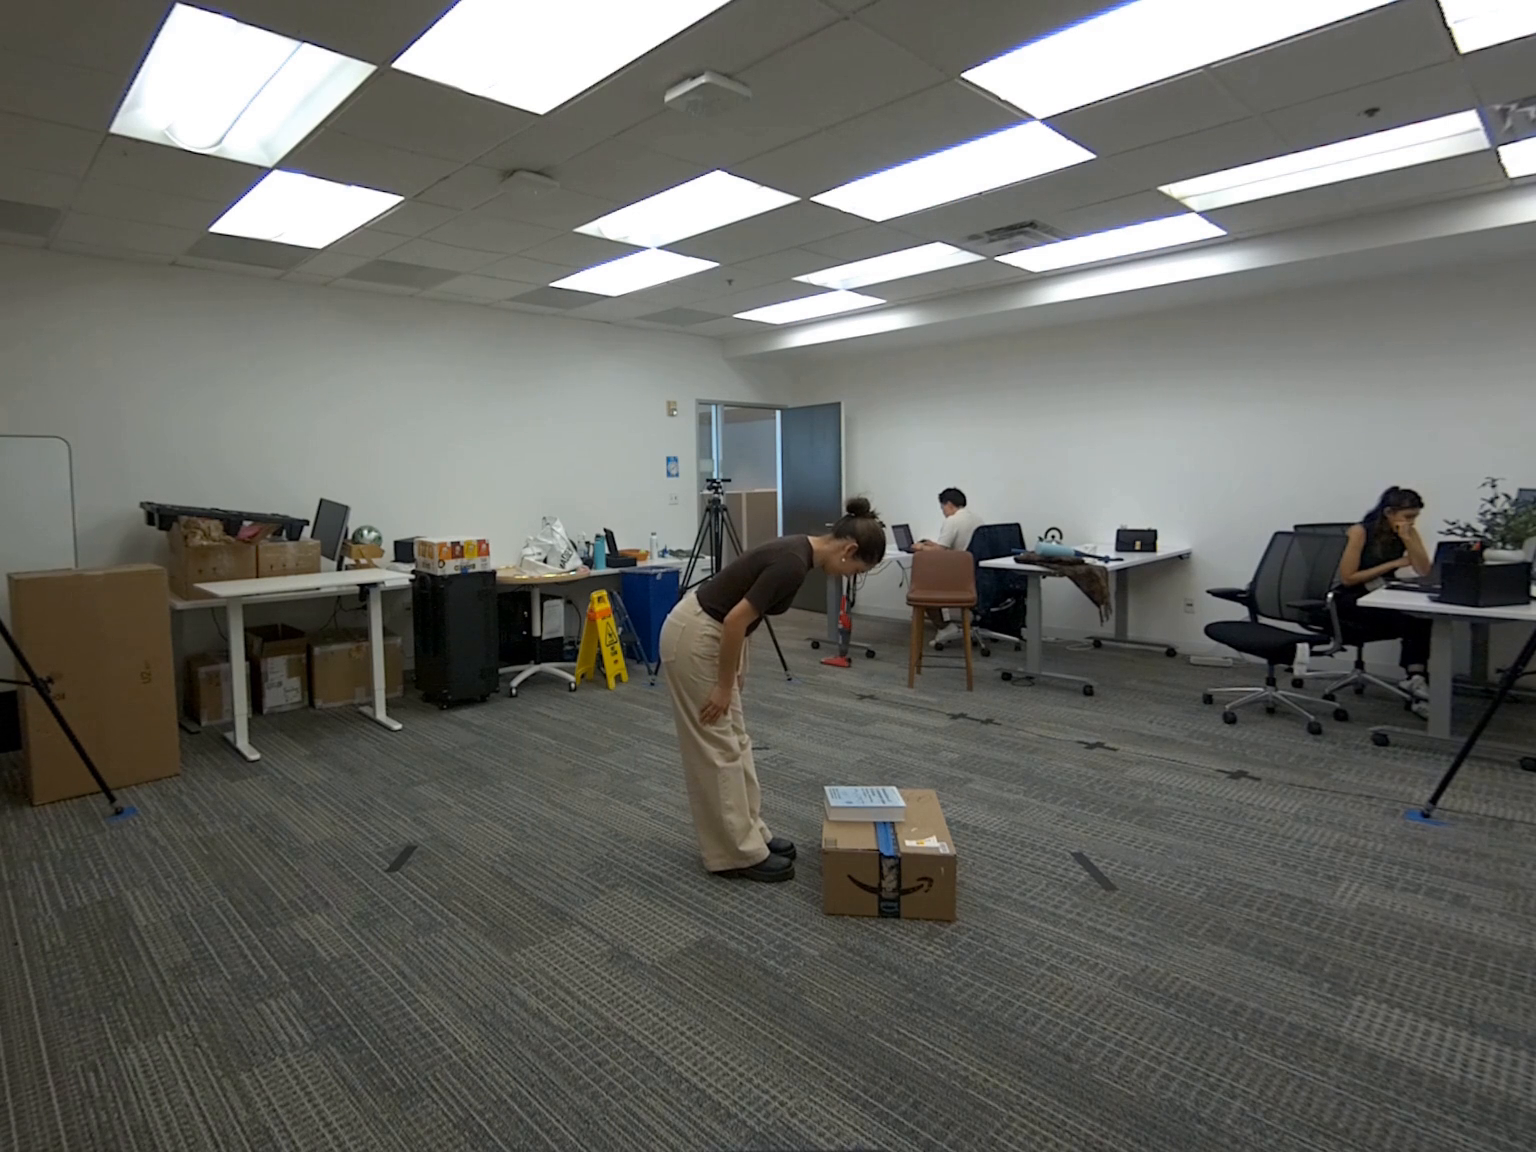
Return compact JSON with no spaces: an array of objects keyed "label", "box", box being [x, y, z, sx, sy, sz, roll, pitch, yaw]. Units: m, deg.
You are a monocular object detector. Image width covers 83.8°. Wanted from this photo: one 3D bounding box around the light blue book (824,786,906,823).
[{"label":"light blue book","box":[0.336,0.799,3.028,0.261,0.059,0.192,0,7,-1]}]
